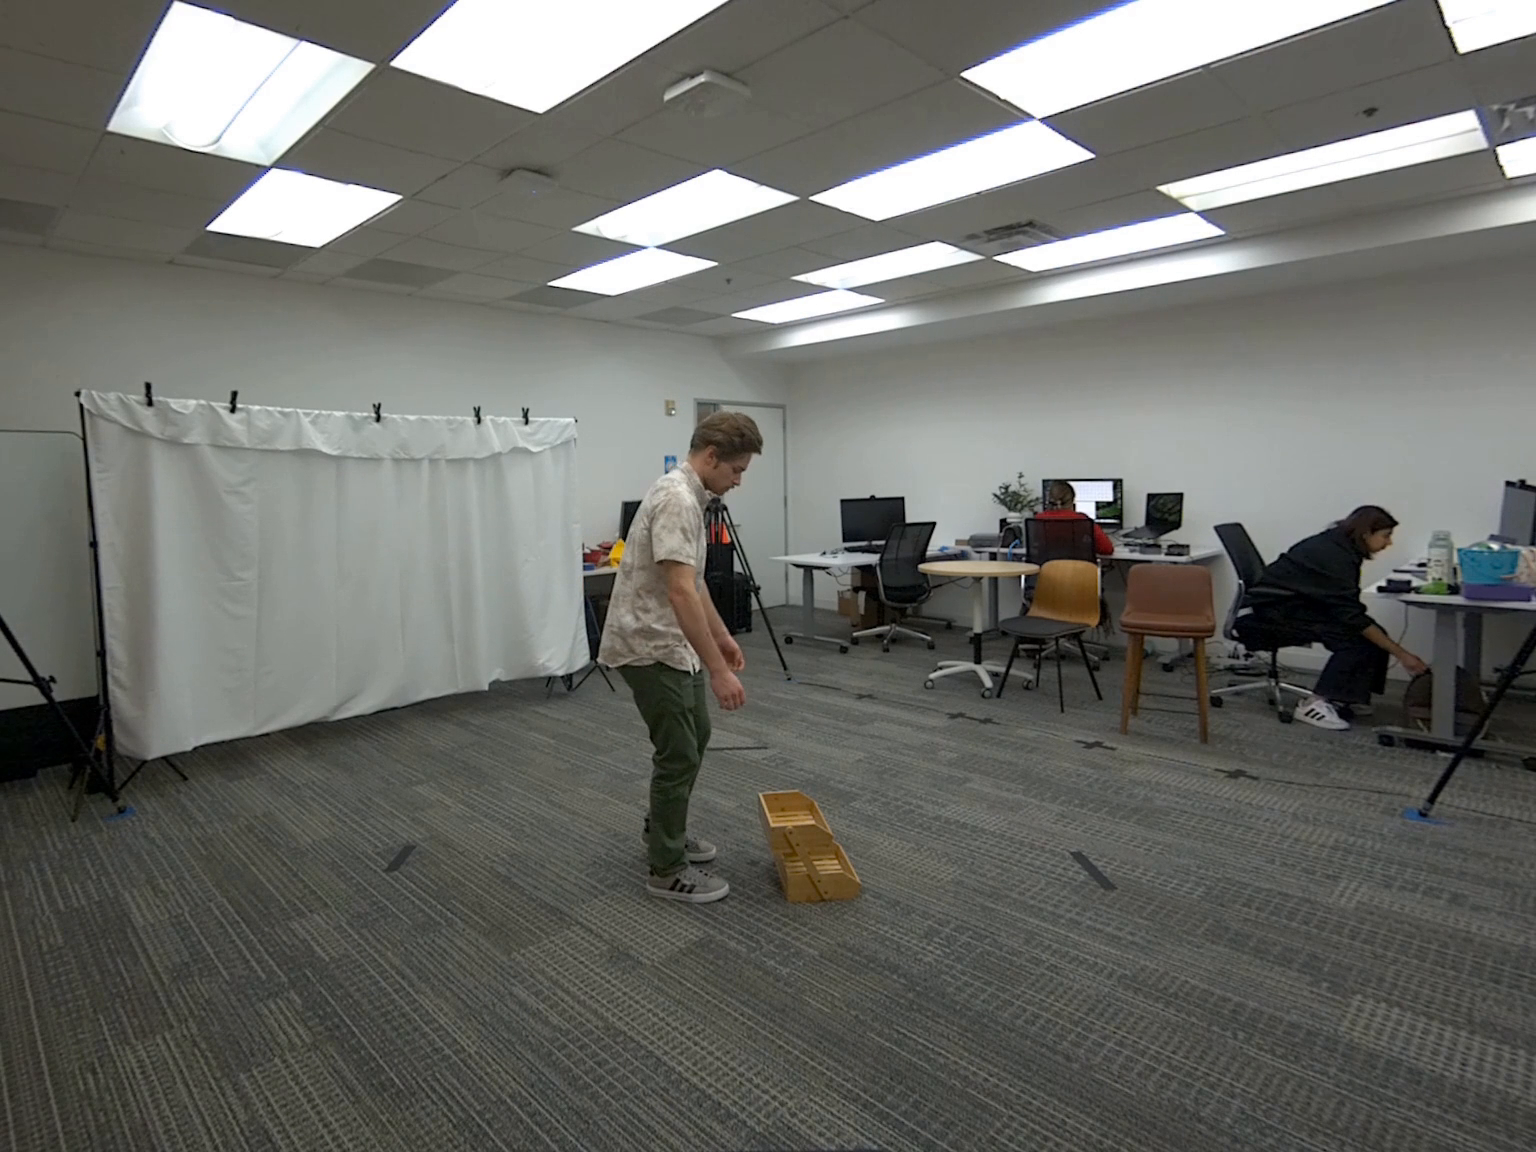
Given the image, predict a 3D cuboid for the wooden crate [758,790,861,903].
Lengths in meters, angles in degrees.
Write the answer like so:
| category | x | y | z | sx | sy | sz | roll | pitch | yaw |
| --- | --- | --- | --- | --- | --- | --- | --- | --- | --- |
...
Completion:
| category | x | y | z | sx | sy | sz | roll | pitch | yaw |
| --- | --- | --- | --- | --- | --- | --- | --- | --- | --- |
| wooden crate | 0.142 | 0.922 | 2.954 | 0.300 | 0.272 | 0.328 | -2 | 5 | -7 |
